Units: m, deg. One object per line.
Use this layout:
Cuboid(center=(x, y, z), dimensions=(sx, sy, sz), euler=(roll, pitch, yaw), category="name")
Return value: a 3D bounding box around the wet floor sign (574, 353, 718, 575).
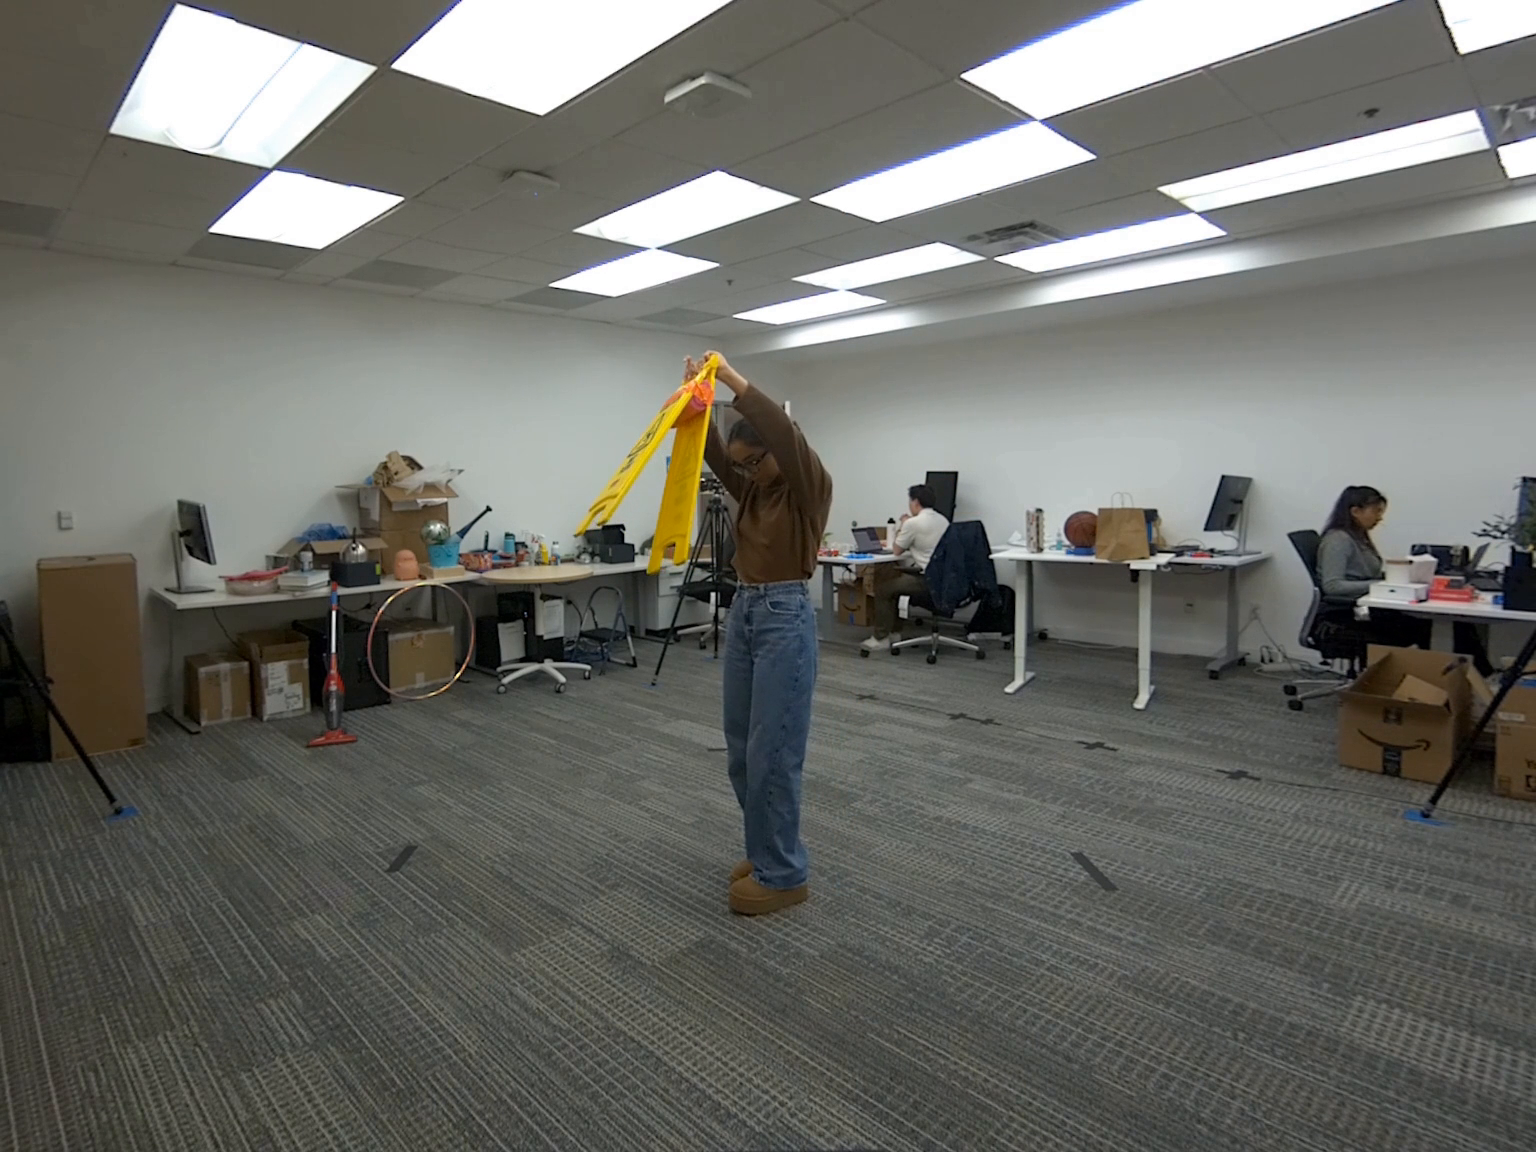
Cuboid(center=(-0.305, -0.366, 2.549), dimensions=(0.282, 0.653, 0.287), euler=(27, -22, -23), category="wet floor sign")
